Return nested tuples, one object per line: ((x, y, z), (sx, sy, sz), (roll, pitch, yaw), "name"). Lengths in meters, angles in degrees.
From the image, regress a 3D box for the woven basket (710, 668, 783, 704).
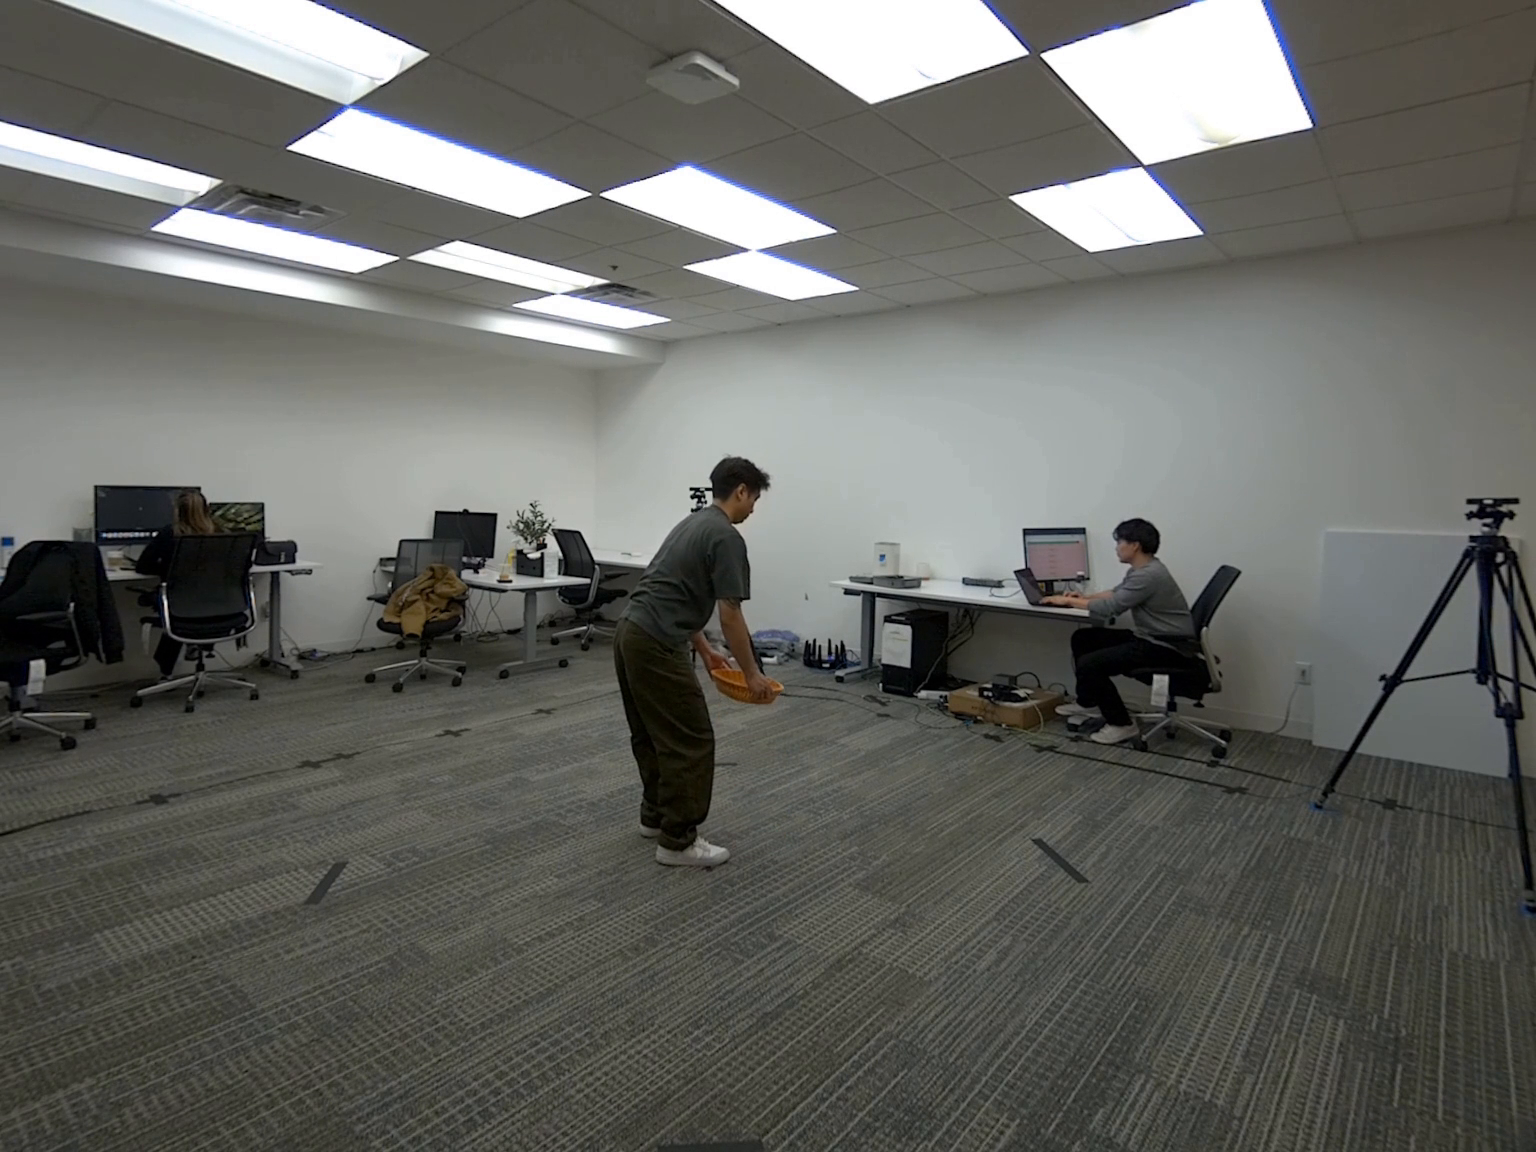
((-0.104, 0.447, 3.417), (0.245, 0.073, 0.361), (6, 5, -29), "woven basket")
